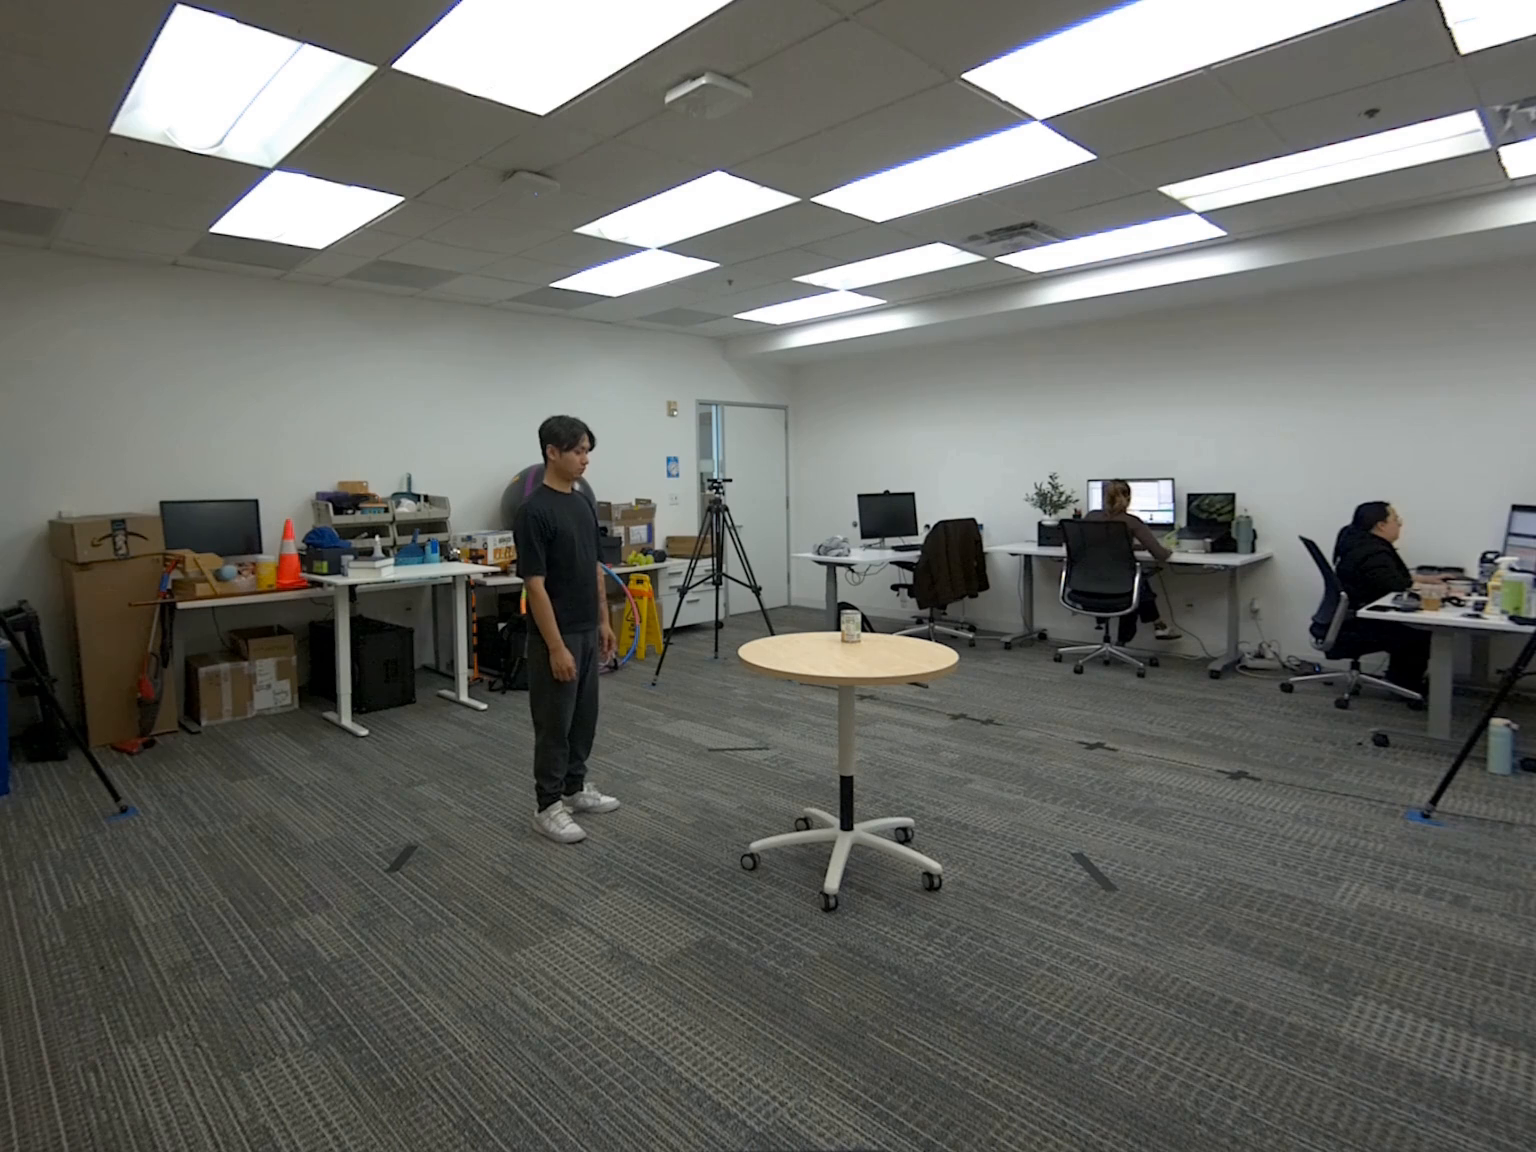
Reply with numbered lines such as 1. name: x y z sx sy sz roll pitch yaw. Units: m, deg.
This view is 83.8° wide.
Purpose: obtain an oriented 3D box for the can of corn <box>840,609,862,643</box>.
1. can of corn: 0.307 0.187 3.199 0.074 0.111 0.074 1 3 -2
